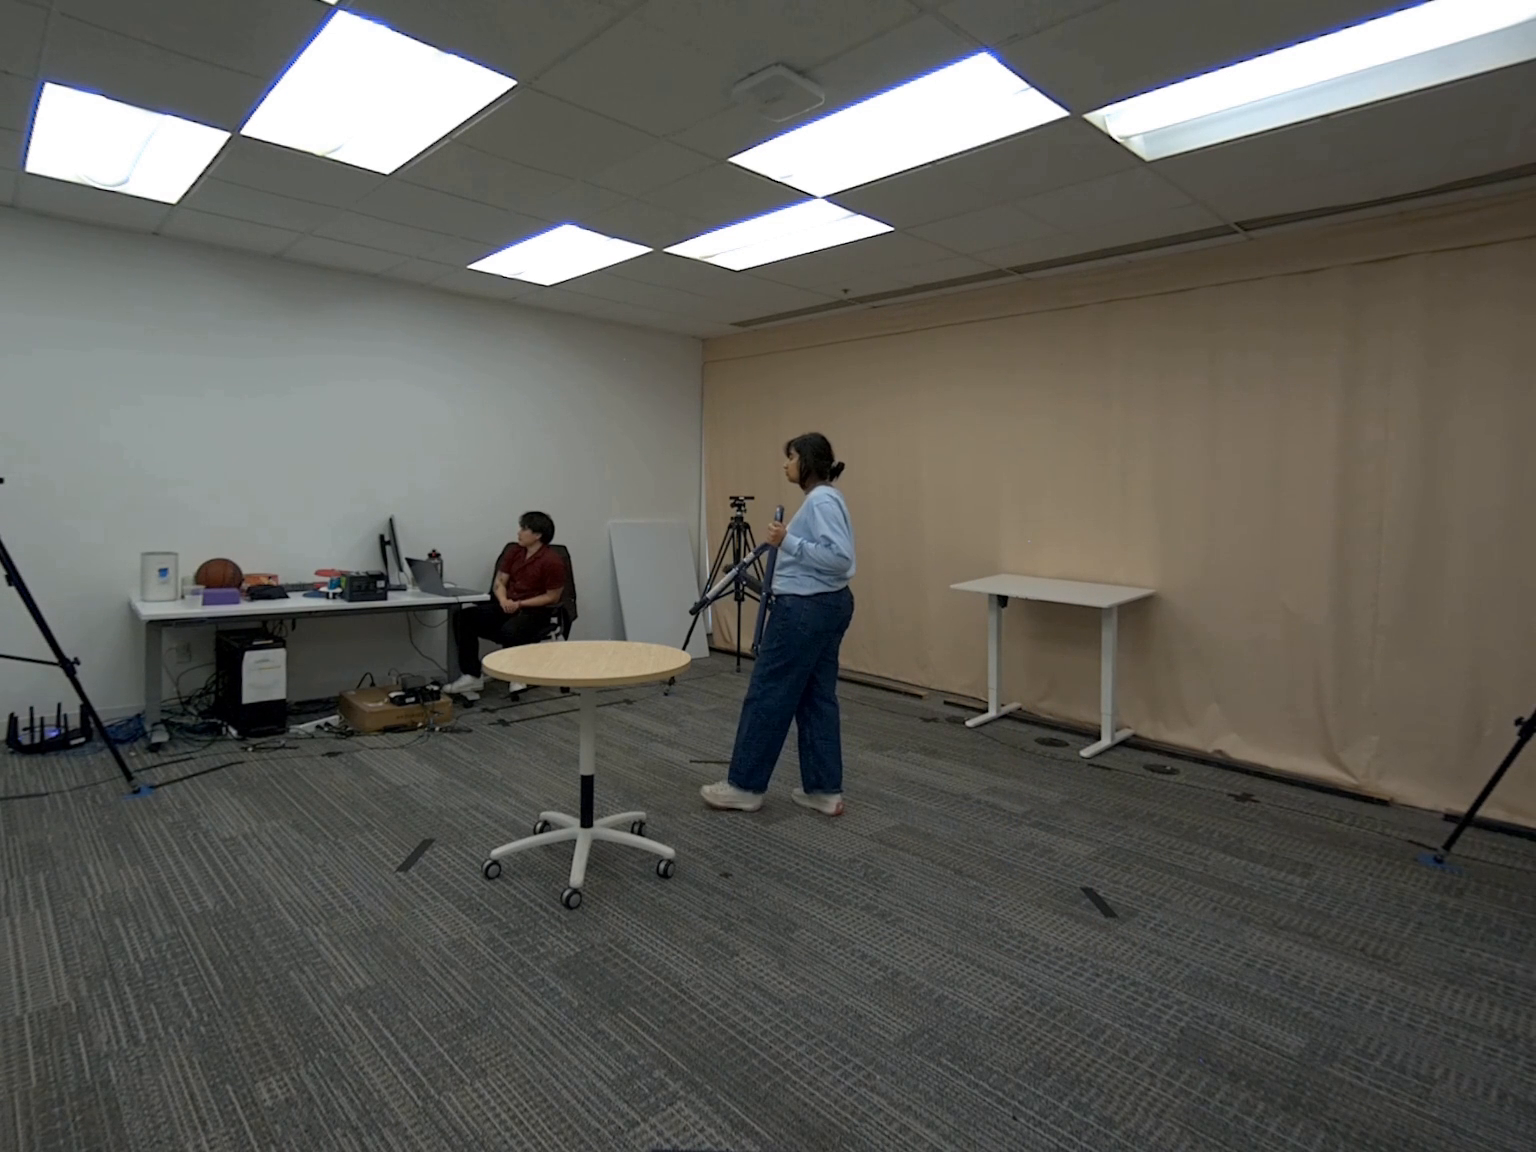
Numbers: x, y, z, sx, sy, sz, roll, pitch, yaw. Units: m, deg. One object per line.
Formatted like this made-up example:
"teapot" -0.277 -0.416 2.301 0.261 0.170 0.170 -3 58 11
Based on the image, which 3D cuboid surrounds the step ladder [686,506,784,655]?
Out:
"step ladder" -0.048 -0.011 3.774 0.350 0.606 0.430 32 1 1
